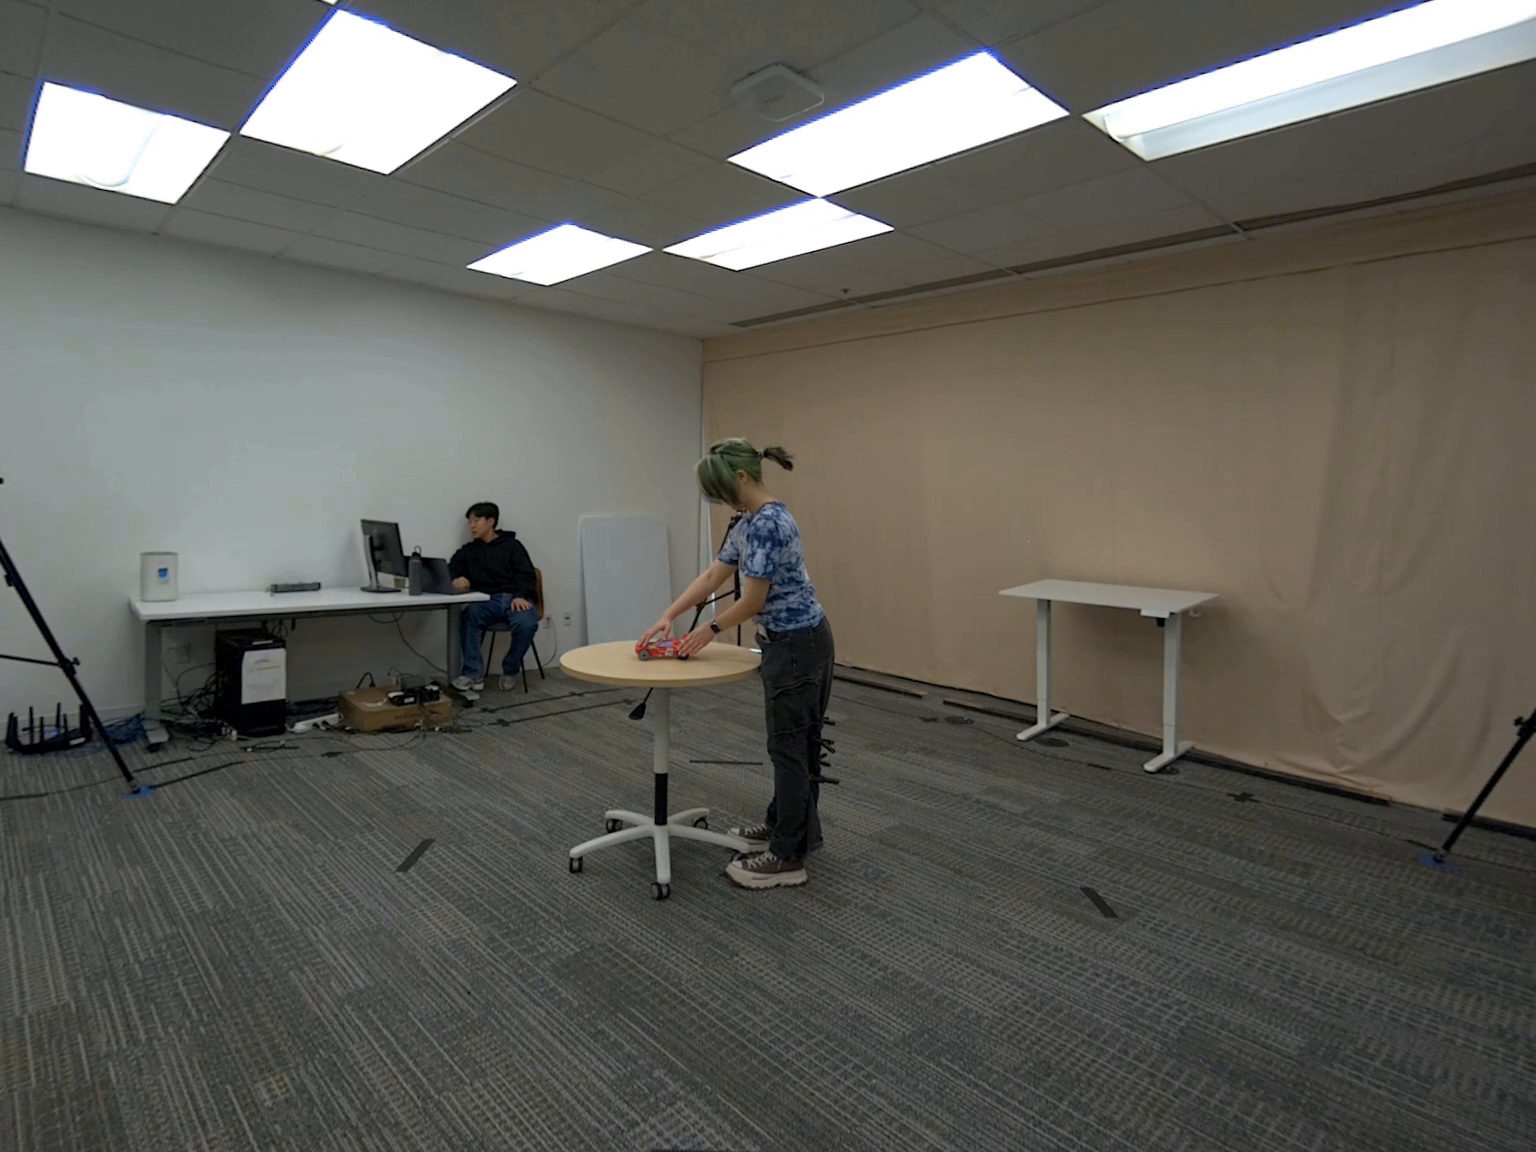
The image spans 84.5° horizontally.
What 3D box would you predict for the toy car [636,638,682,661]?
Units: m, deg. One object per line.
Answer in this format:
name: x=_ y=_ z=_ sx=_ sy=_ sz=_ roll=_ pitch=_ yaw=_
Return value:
toy car: x=-0.378 y=0.275 z=3.178 sx=0.254 sy=0.083 sz=0.131 roll=-12 pitch=6 yaw=-5
